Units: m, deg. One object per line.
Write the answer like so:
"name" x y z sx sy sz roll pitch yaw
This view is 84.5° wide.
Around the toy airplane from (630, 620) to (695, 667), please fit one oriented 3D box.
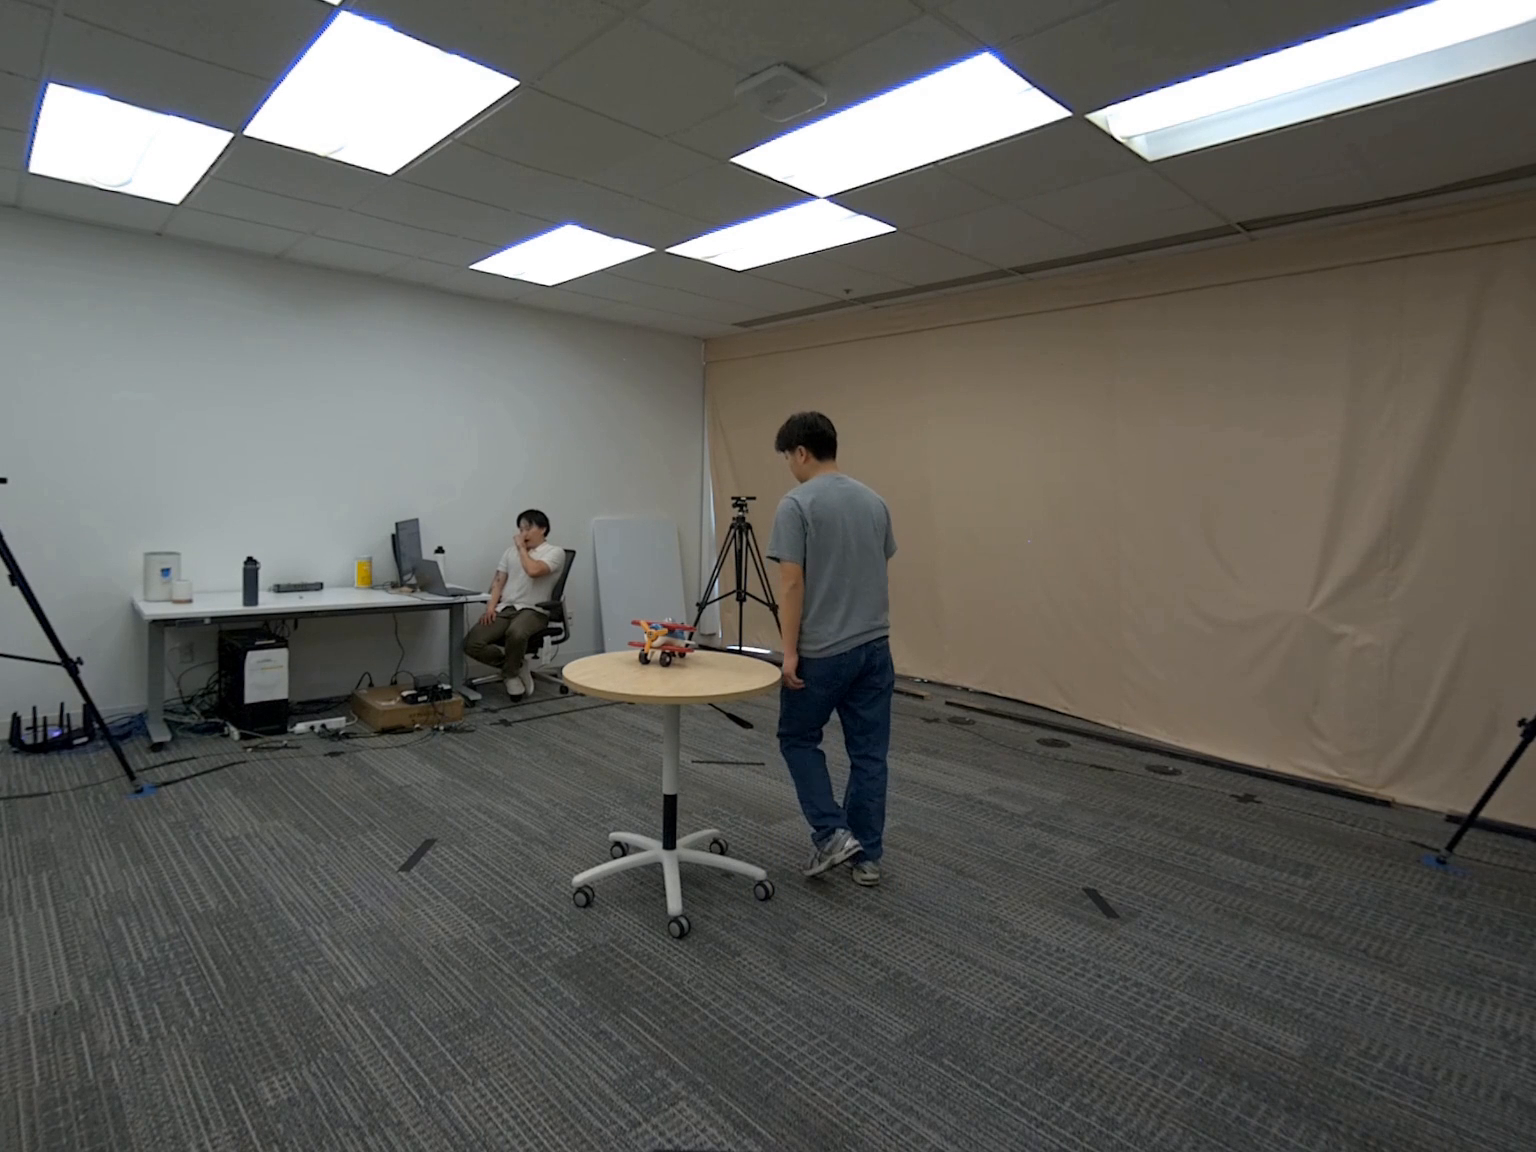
"toy airplane" -0.396 0.239 3.111 0.250 0.156 0.261 2 6 -5
